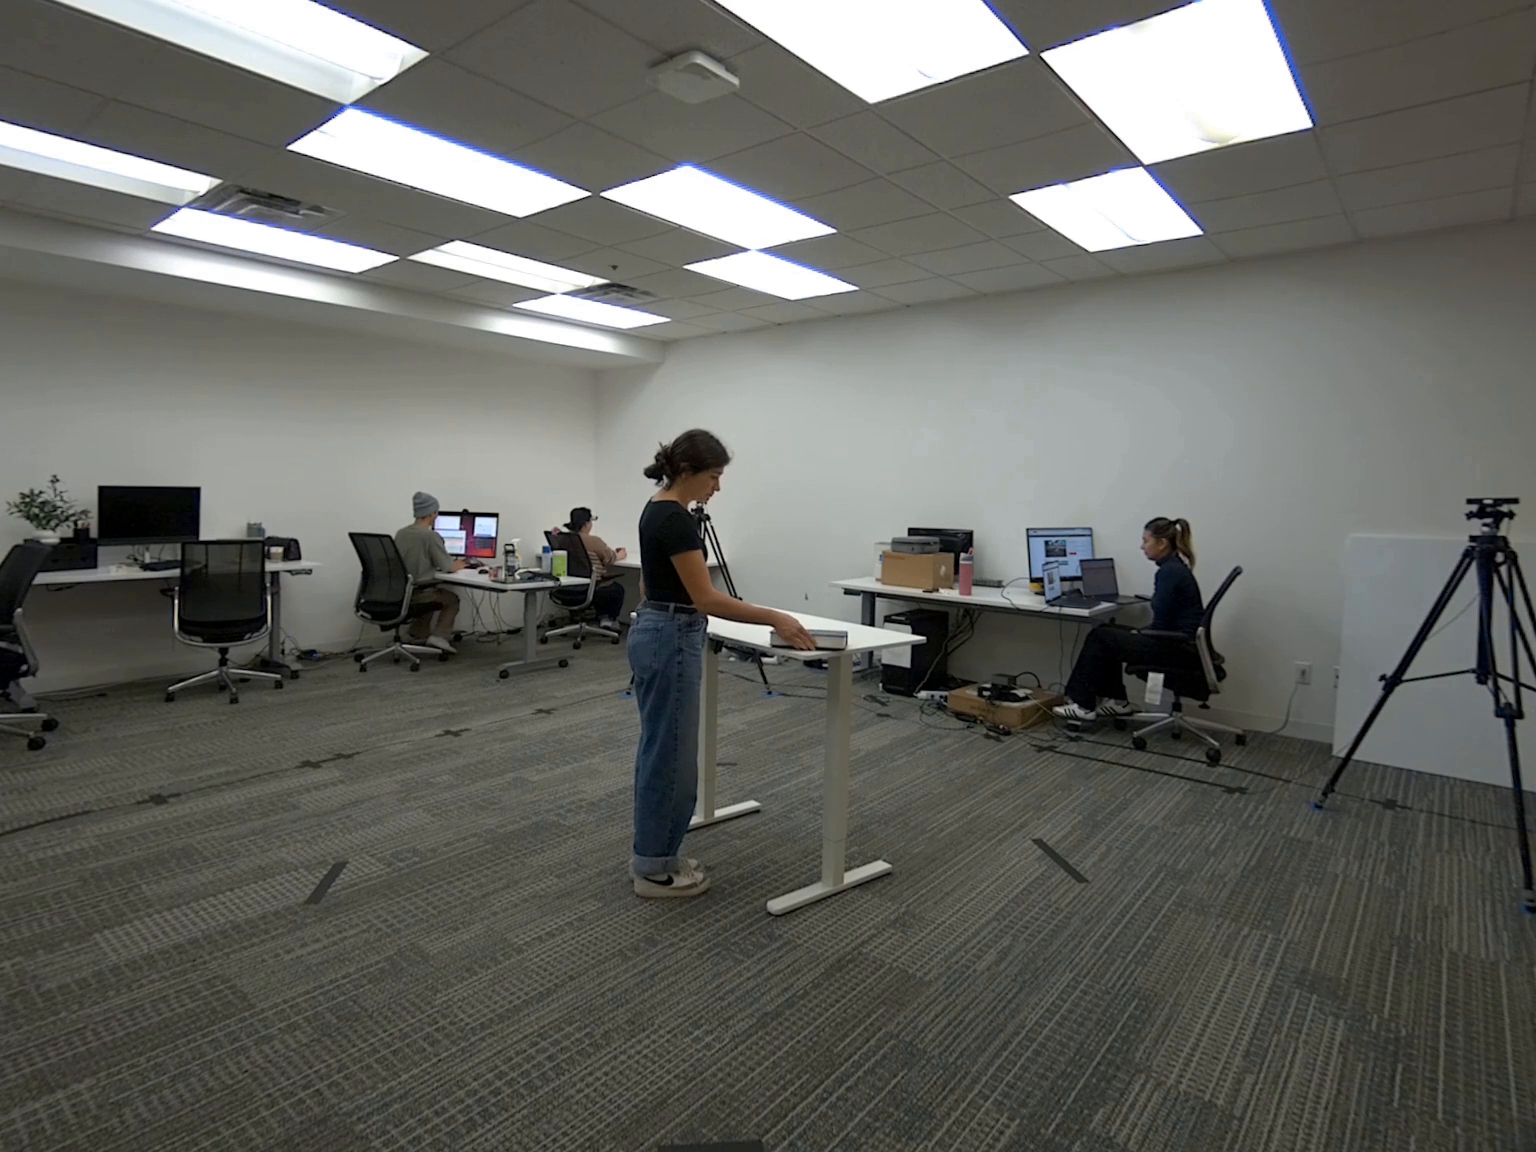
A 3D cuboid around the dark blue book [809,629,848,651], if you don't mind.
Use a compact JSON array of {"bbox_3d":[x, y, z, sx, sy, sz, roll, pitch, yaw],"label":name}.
[{"bbox_3d":[0.127,0.204,2.783,0.248,0.045,0.161,2,4,12],"label":"dark blue book"}]
